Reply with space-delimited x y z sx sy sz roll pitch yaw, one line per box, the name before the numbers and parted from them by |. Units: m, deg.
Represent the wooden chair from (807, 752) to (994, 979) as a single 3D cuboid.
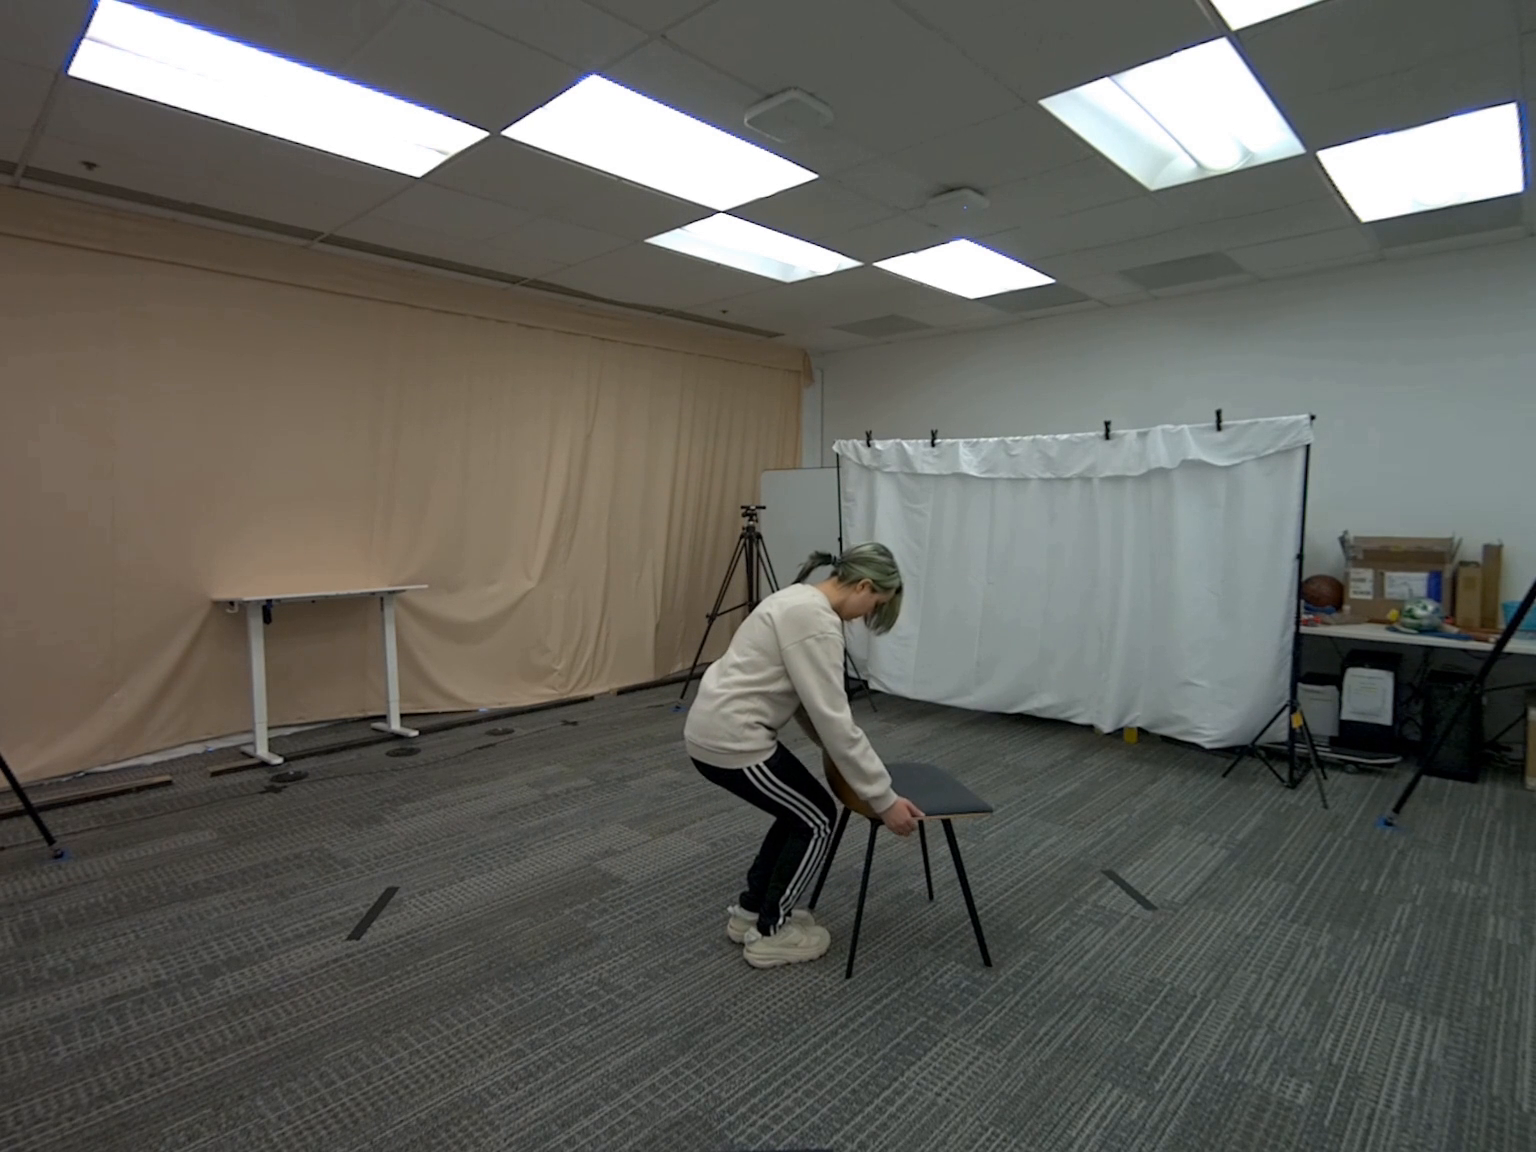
wooden chair | 0.429 0.740 2.705 0.518 0.875 0.484 -5 4 -11
